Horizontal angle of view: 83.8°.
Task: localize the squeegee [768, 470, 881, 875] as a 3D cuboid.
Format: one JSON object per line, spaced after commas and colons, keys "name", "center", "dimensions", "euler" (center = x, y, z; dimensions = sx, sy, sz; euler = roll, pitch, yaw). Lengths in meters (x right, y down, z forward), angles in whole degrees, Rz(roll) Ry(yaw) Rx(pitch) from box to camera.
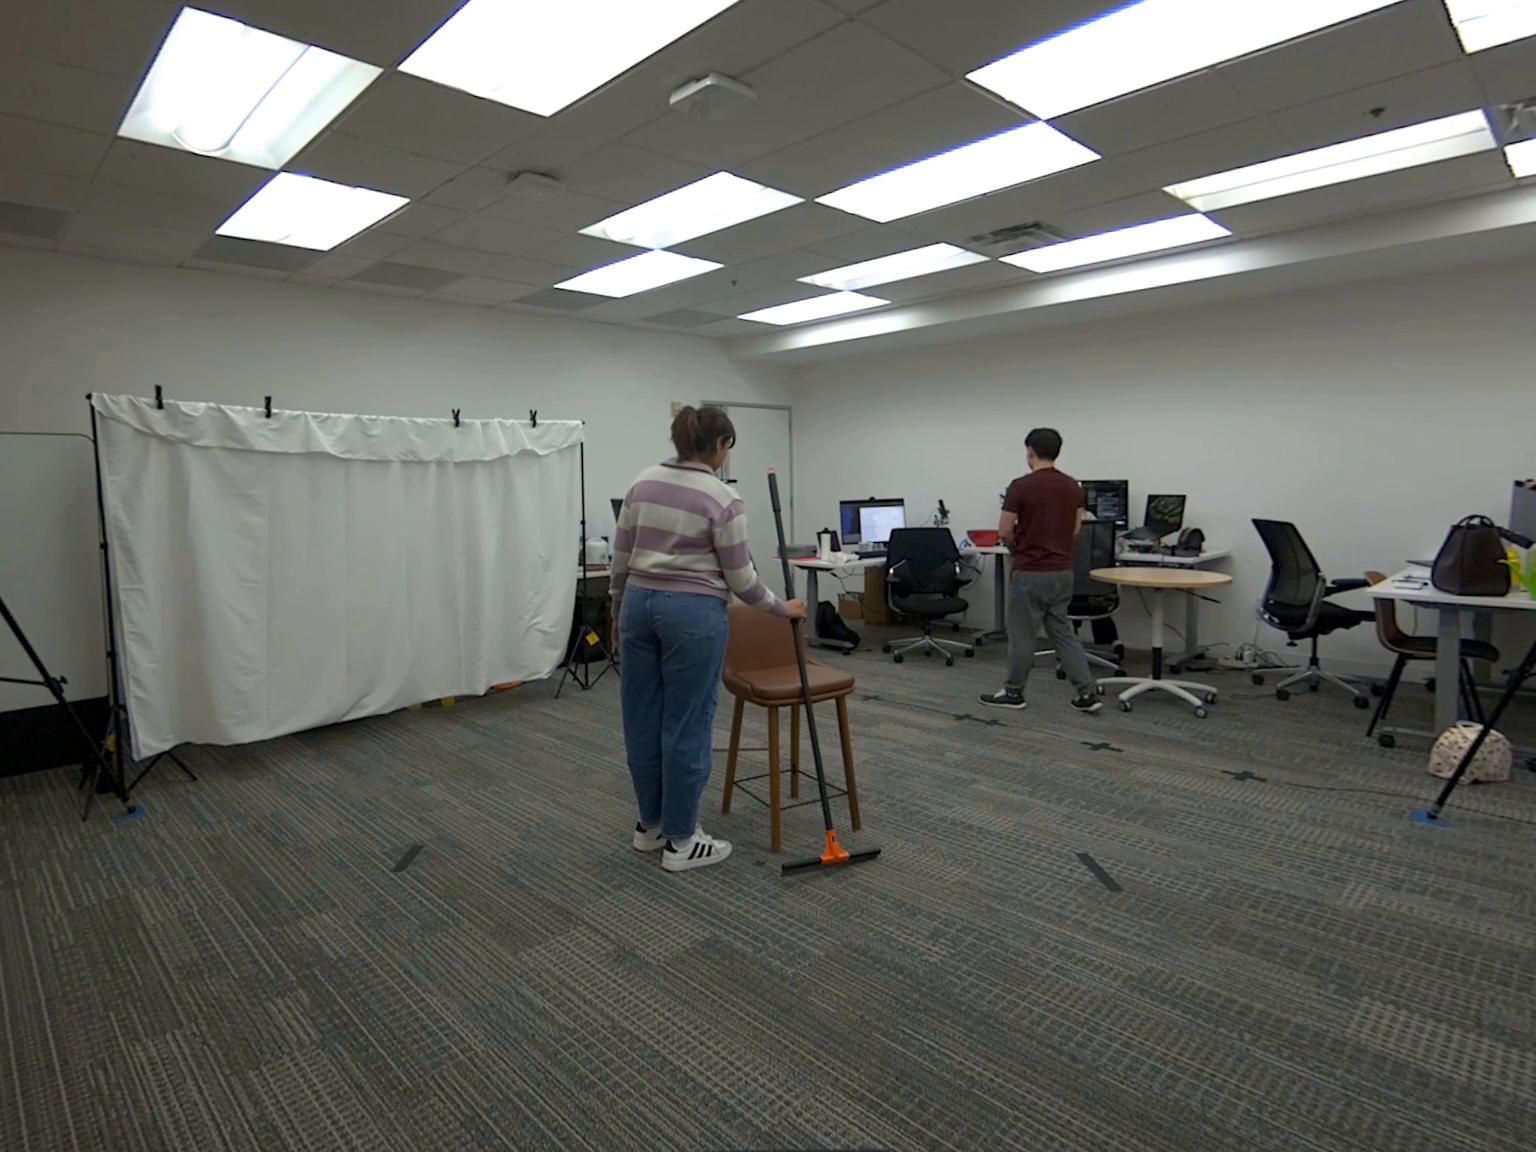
{"name": "squeegee", "center": [0.139, 0.291, 3.268], "dimensions": [0.425, 1.566, 0.053], "euler": [6, -22, -33]}
